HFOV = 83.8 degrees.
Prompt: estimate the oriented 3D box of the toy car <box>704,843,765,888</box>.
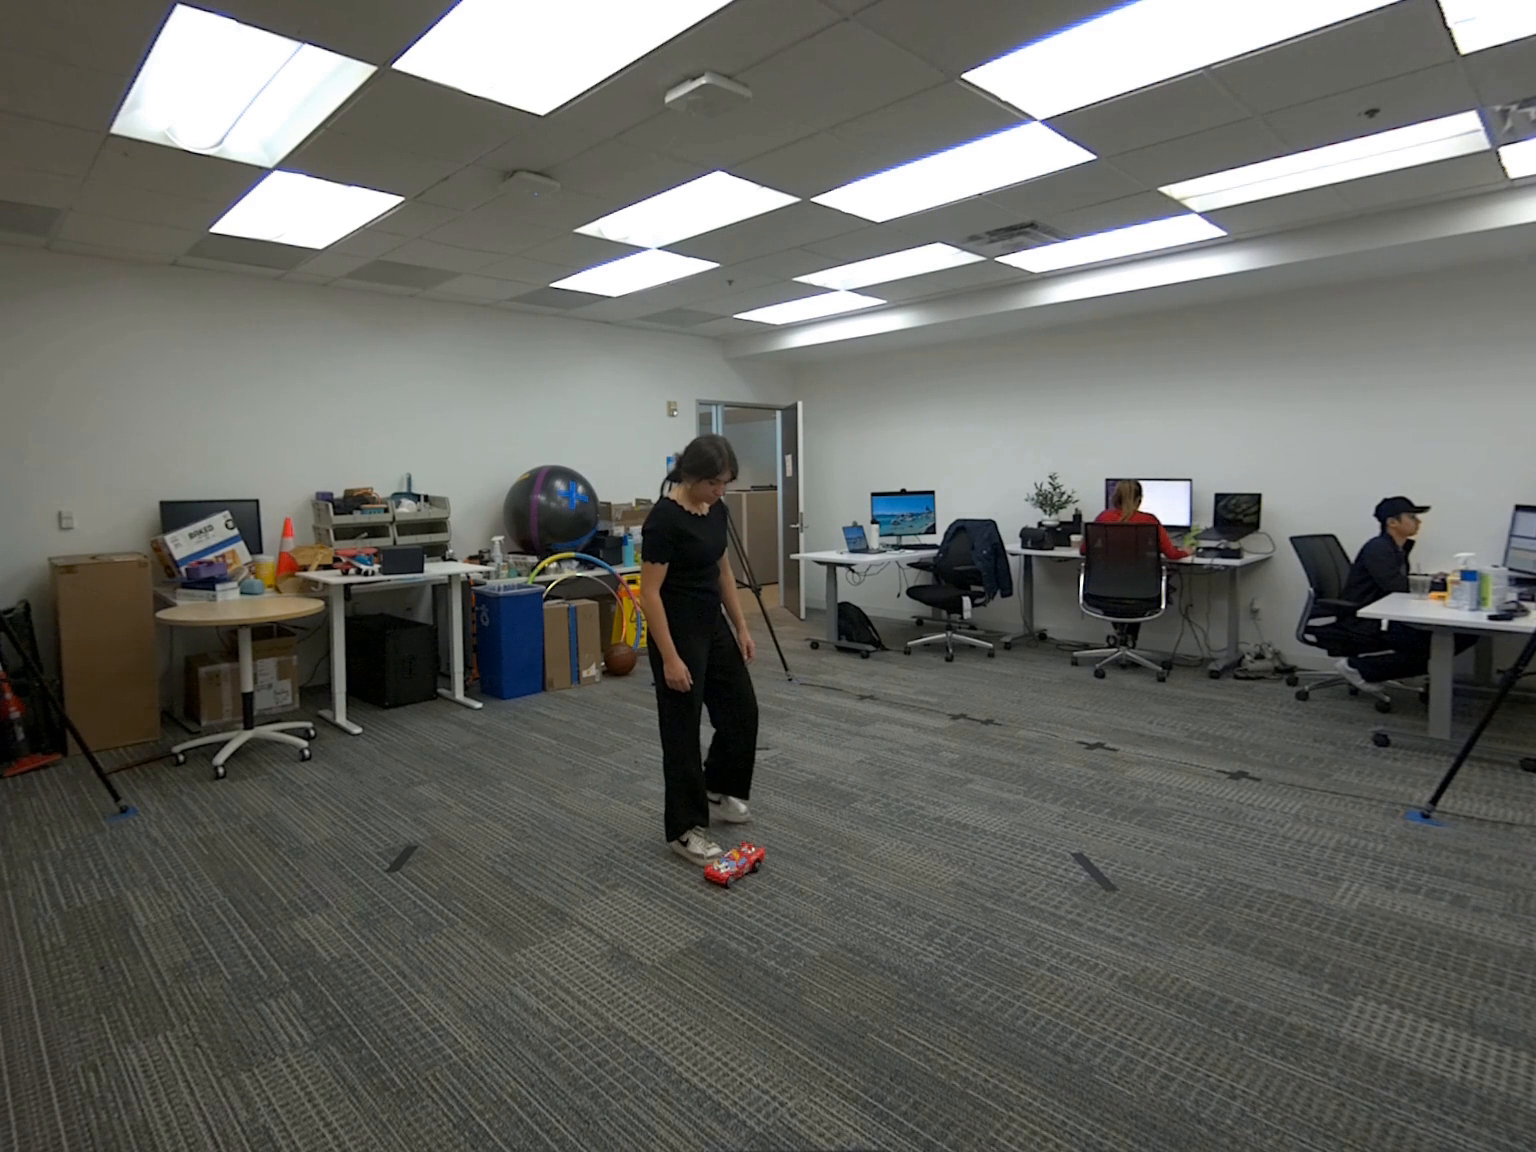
[{"bbox_3d":[-0.111,1.024,3.028,0.134,0.082,0.250,3,18,40],"label":"toy car"}]
